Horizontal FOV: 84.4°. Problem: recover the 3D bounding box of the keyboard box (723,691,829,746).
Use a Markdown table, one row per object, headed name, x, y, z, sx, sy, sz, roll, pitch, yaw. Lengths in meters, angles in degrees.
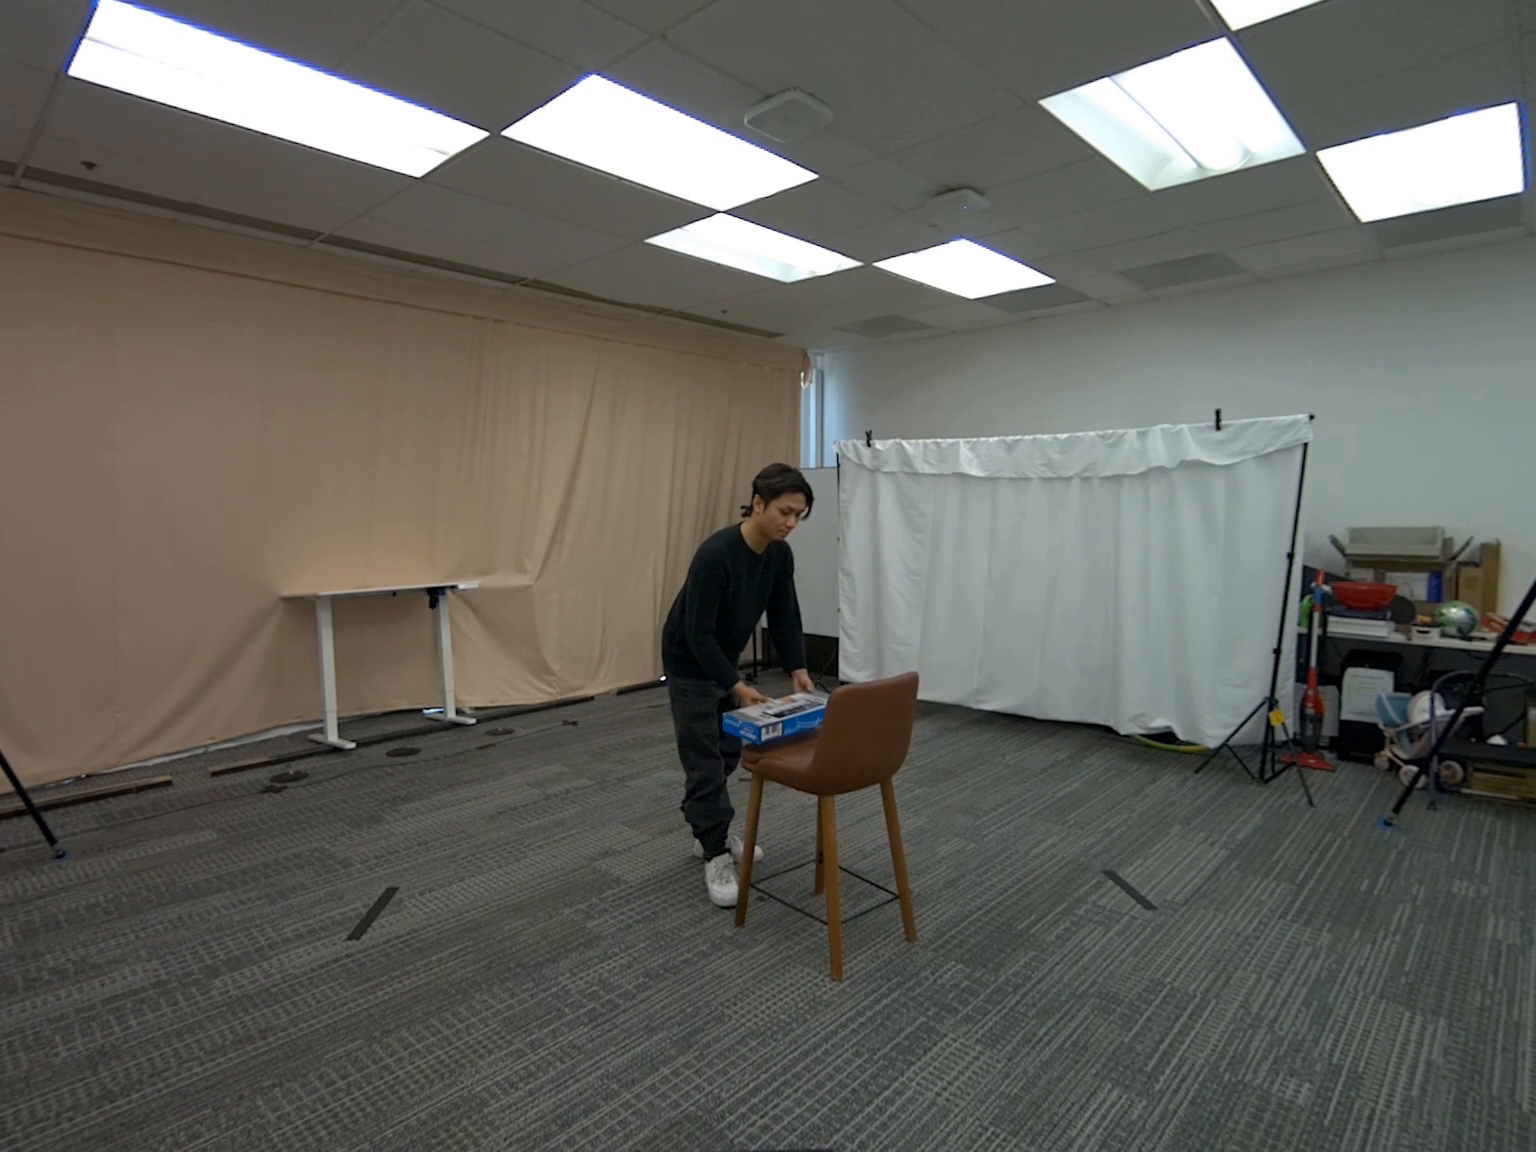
| name | x | y | z | sx | sy | sz | roll | pitch | yaw |
| --- | --- | --- | --- | --- | --- | --- | --- | --- | --- |
| keyboard box | 0.066 | 0.459 | 2.807 | 0.424 | 0.059 | 0.182 | -8 | 11 | -42 |
